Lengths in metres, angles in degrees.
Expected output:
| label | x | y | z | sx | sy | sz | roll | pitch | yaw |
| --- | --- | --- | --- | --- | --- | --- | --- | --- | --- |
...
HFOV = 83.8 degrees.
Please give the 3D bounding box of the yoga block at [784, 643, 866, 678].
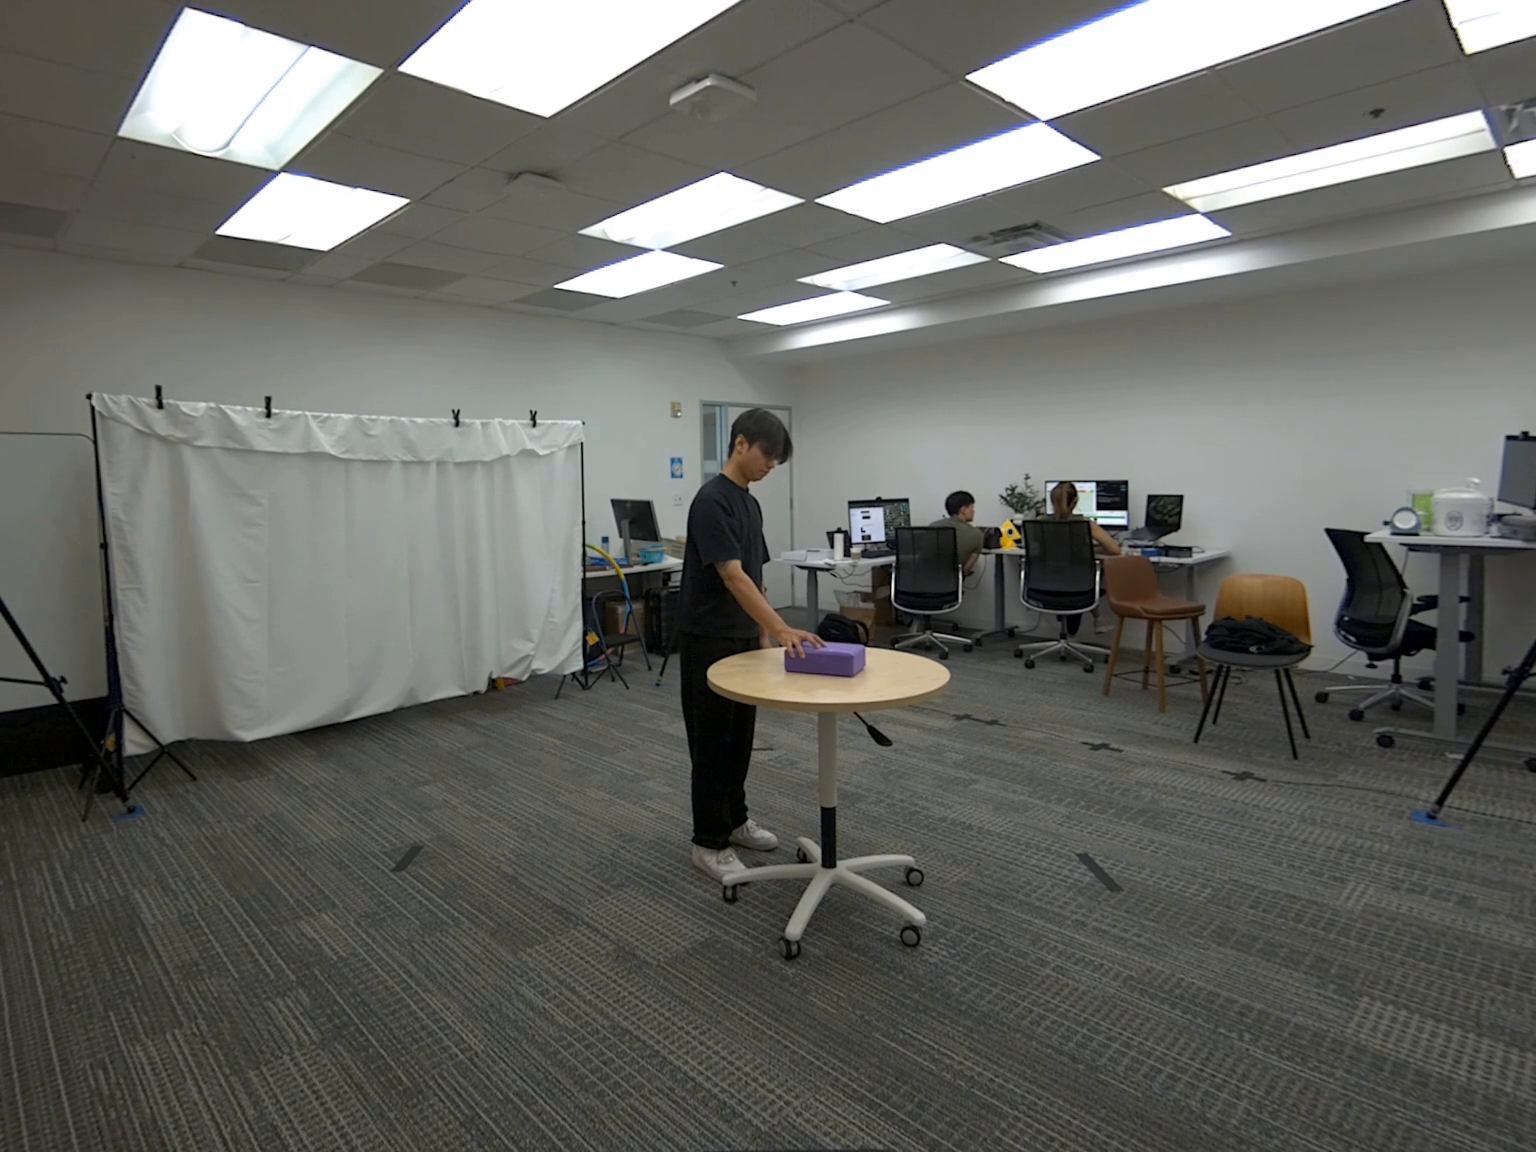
| label | x | y | z | sx | sy | sz | roll | pitch | yaw |
| --- | --- | --- | --- | --- | --- | --- | --- | --- | --- |
| yoga block | 0.189 | 0.265 | 2.729 | 0.234 | 0.076 | 0.146 | 2 | 8 | 24 |
